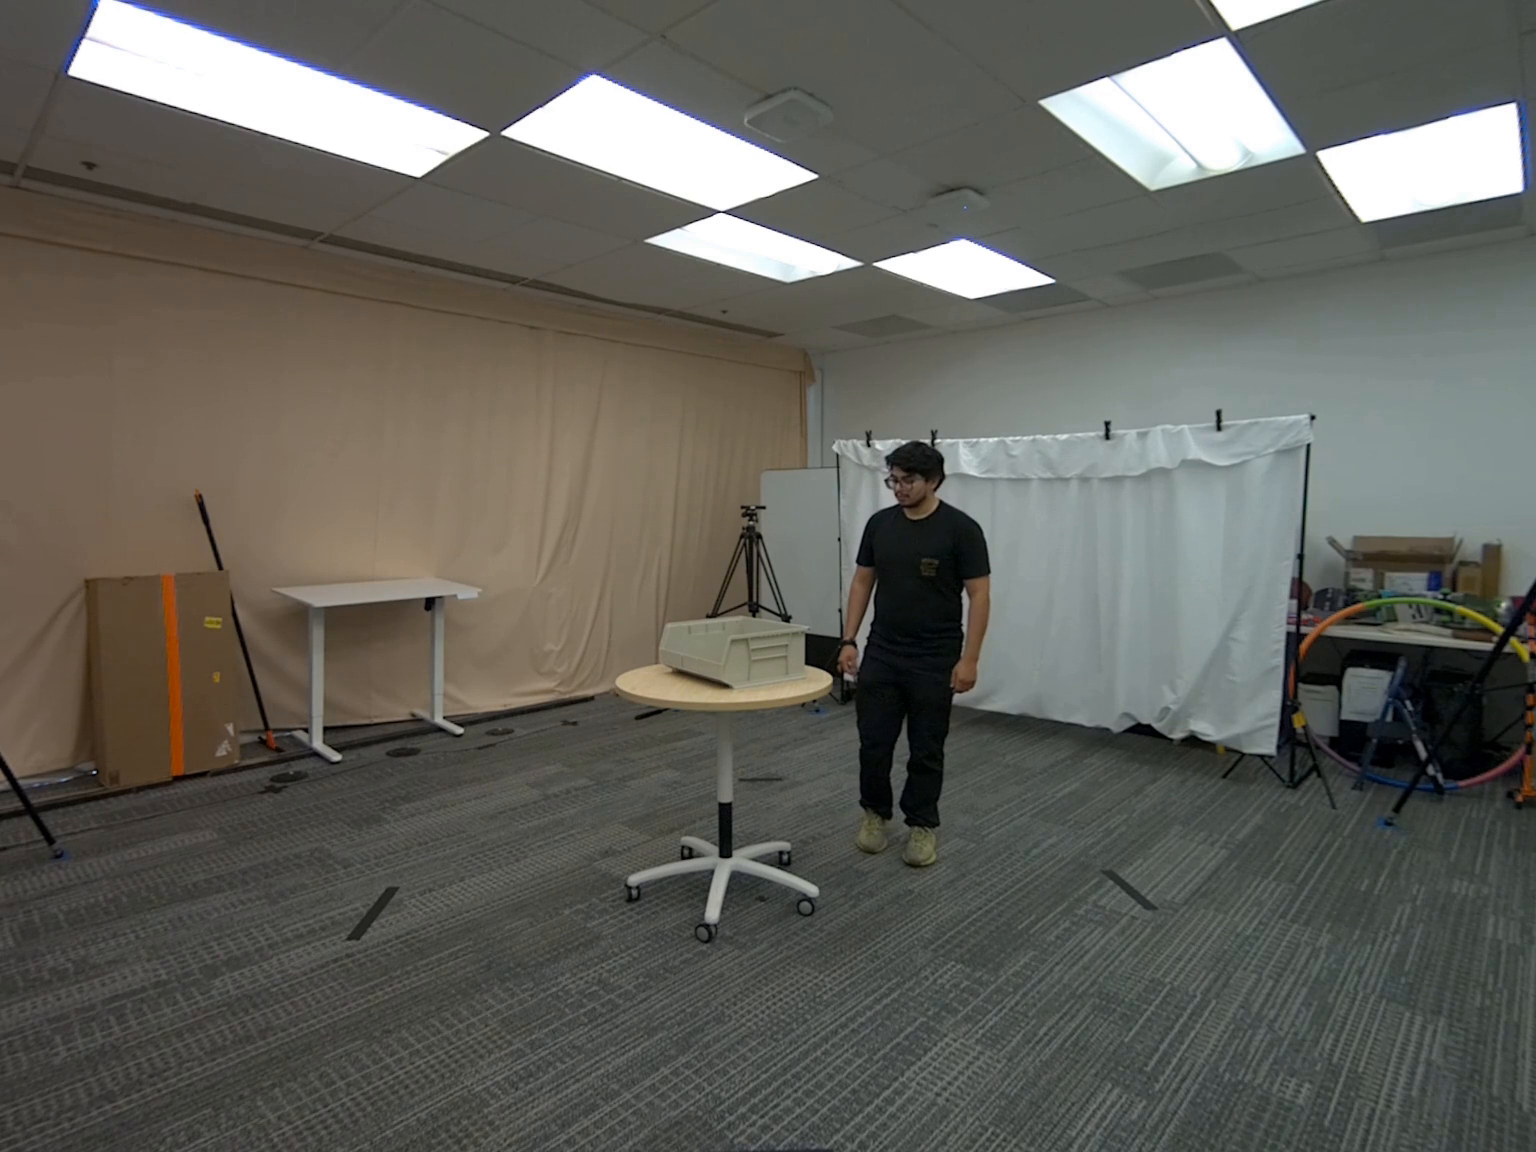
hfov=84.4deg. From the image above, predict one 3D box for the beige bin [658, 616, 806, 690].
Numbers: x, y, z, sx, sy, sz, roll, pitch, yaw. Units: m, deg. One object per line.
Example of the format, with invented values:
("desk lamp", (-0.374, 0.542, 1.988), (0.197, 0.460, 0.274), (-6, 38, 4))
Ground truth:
("beige bin", (-0.124, 0.269, 3.028), (0.366, 0.188, 0.435), (-2, 4, -35))
